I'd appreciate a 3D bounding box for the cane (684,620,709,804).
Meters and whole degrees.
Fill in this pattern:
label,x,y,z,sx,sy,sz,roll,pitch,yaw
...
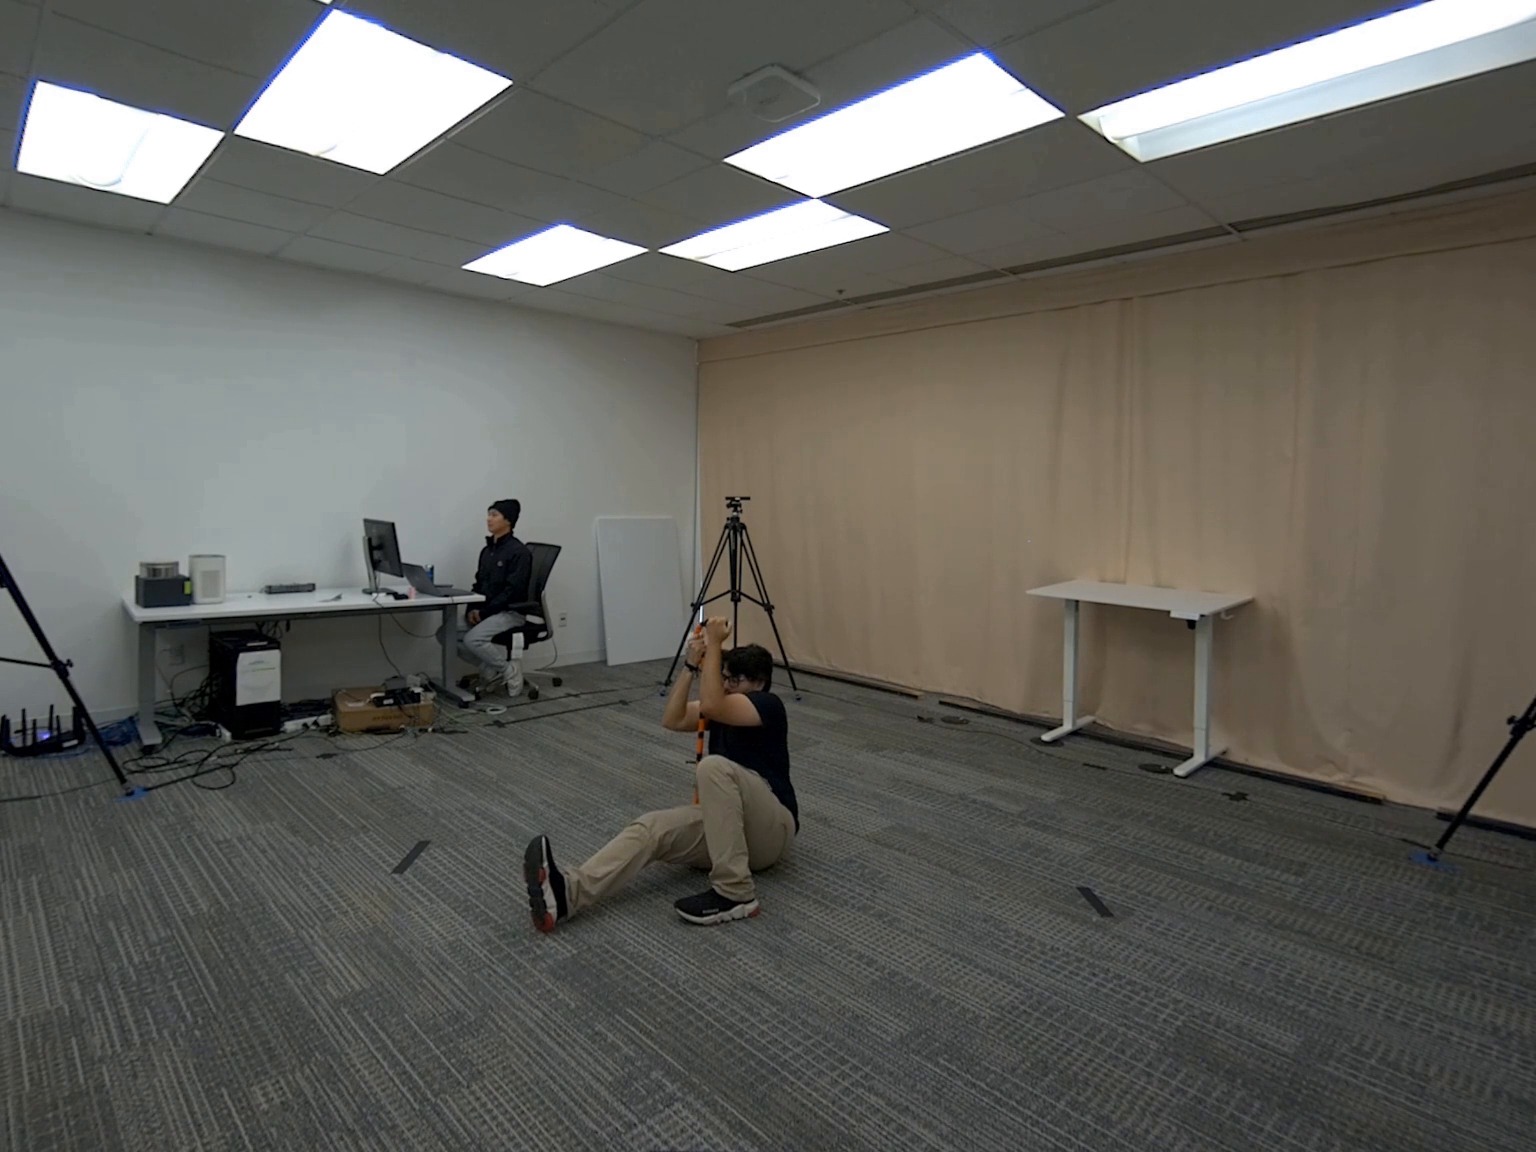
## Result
label,x,y,z,sx,sy,sz,roll,pitch,yaw
cane,-0.264,0.620,3.366,0.211,0.906,0.148,4,3,35
